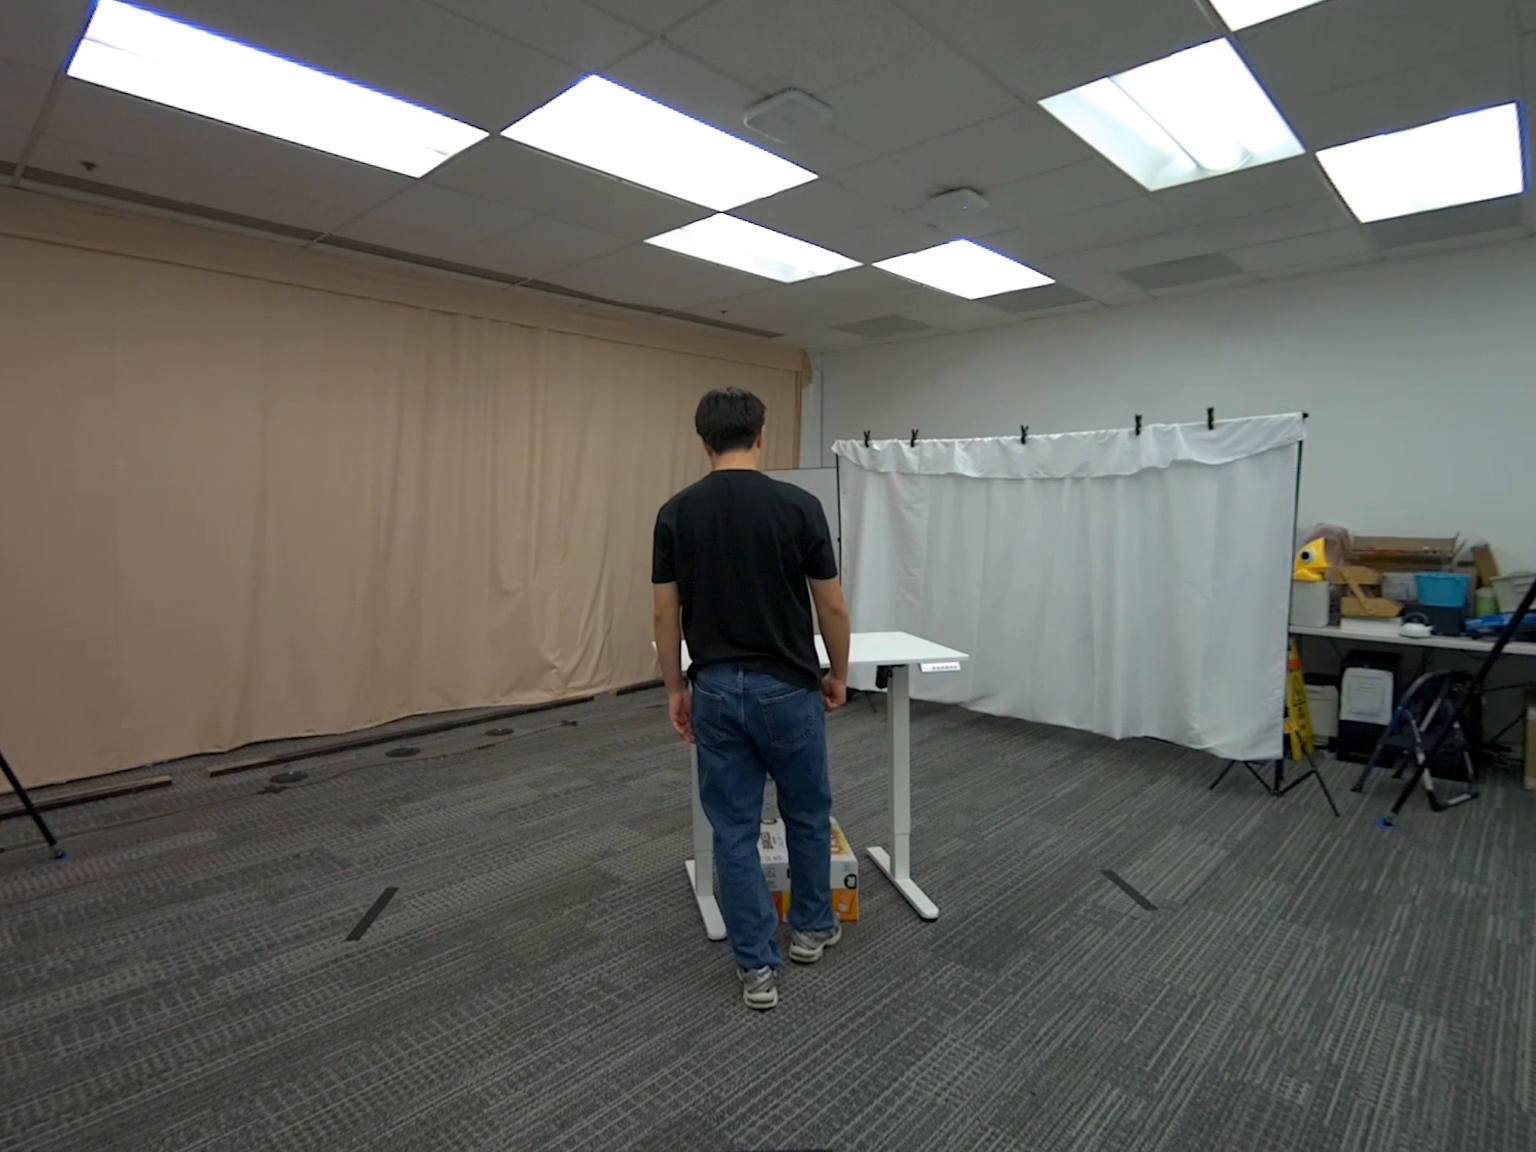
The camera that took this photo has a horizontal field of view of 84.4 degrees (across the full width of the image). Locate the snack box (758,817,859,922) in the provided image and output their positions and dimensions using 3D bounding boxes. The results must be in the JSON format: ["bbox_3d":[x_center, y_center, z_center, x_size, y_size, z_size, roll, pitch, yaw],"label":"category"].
[{"bbox_3d":[0.111,1.037,3.004,0.339,0.205,0.408,-1,5,-6],"label":"snack box"}]
